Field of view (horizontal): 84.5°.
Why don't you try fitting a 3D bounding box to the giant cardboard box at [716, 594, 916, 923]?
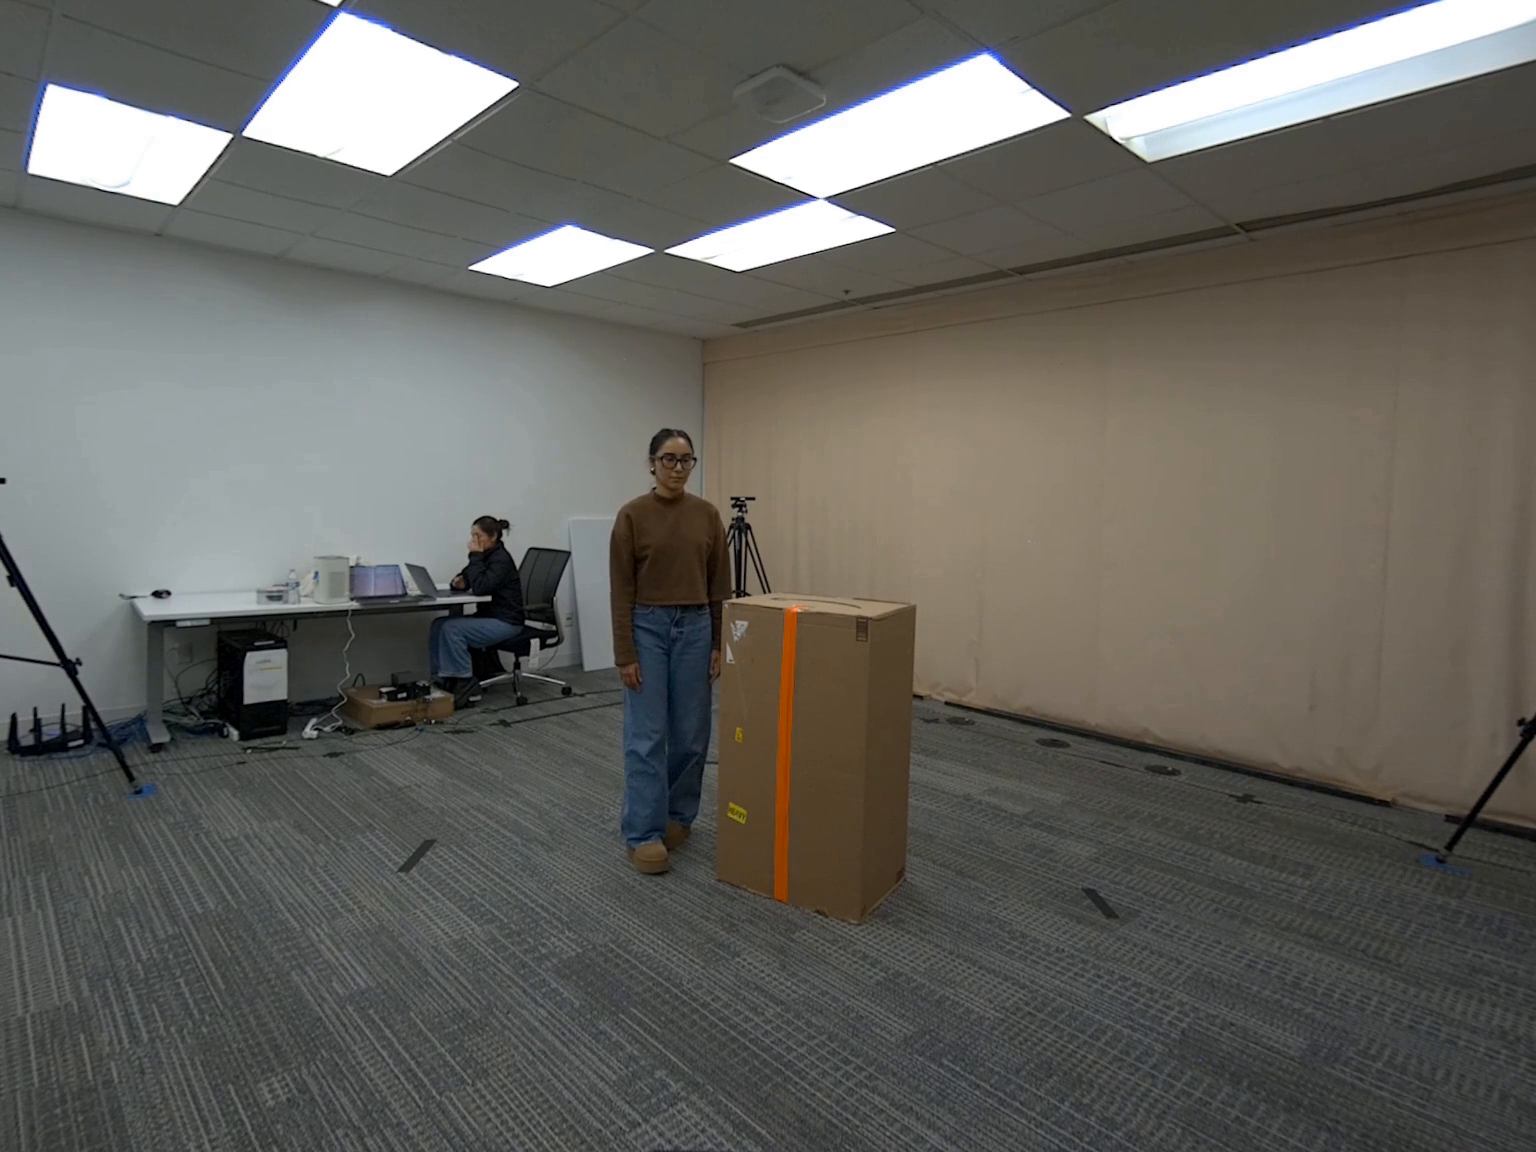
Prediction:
[{"bbox_3d":[0.170,0.608,3.056,0.591,1.023,0.417,4,4,33],"label":"giant cardboard box"}]
